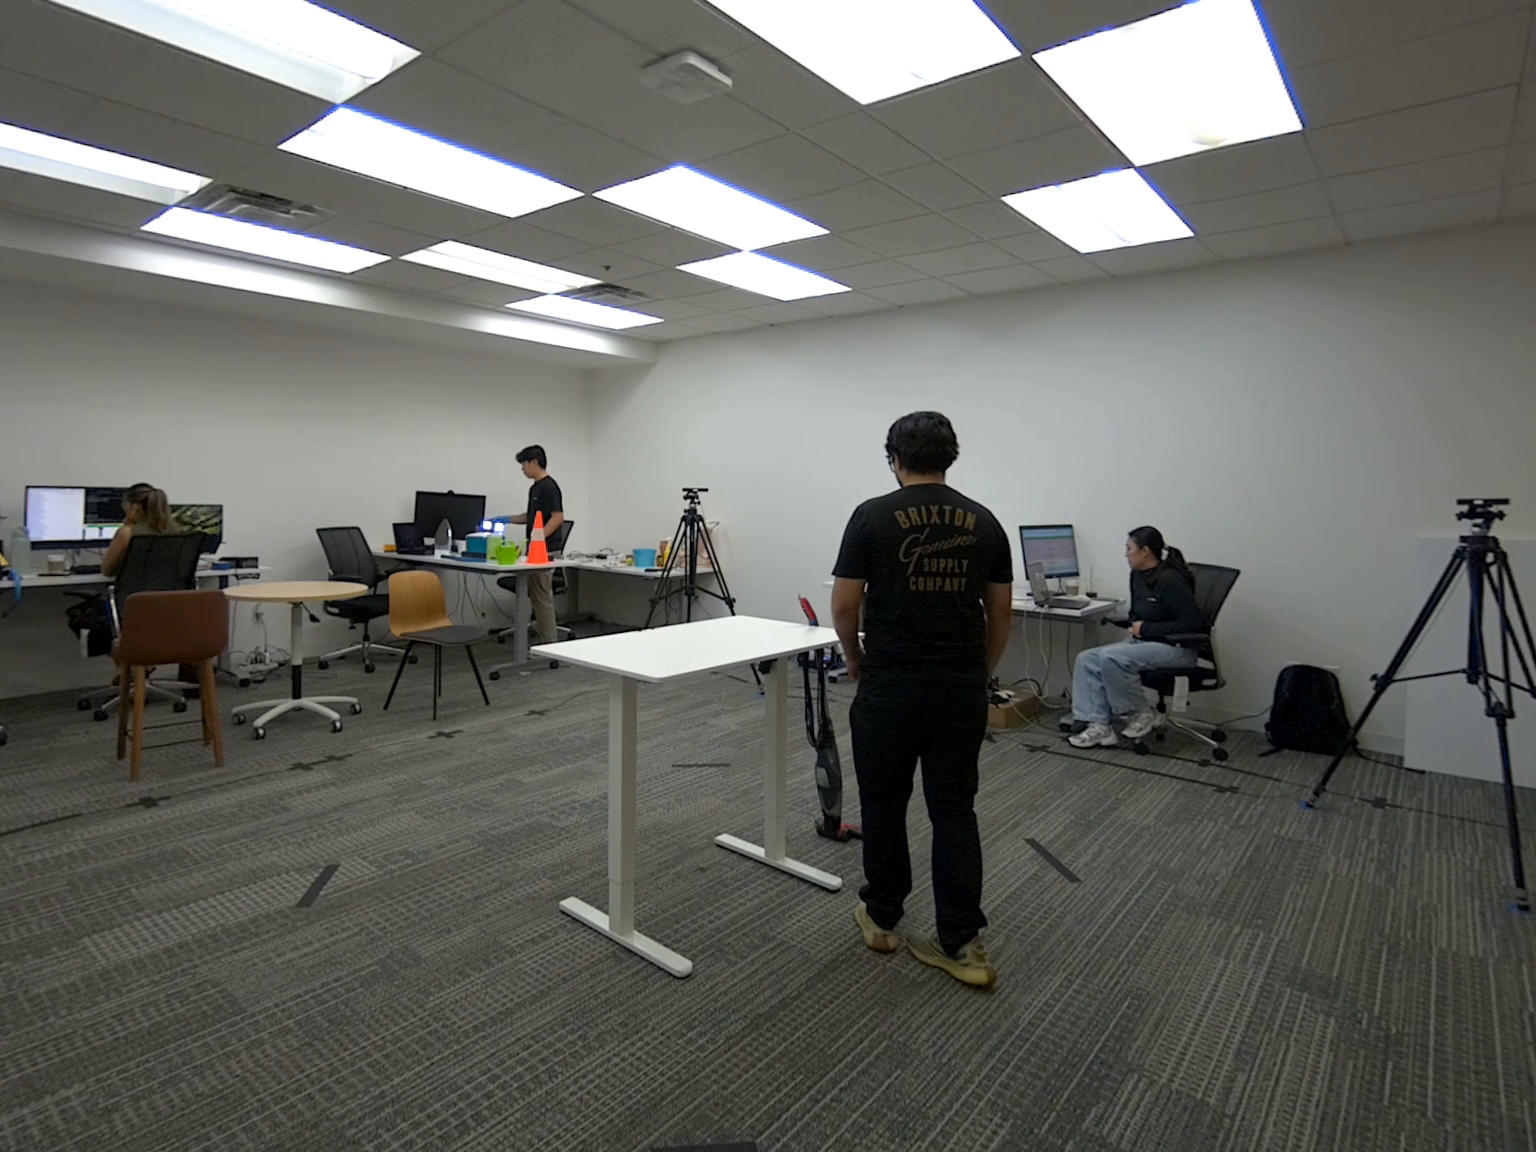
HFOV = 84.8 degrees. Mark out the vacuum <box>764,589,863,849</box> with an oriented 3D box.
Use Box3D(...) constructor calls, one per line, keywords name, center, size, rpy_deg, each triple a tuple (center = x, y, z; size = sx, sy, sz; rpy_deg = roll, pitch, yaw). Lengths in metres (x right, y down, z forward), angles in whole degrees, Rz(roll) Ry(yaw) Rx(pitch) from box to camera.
Box3D(name="vacuum", center=(0.204, 0.564, 3.286), size=(0.260, 1.027, 0.143), rpy_deg=(3, 23, 29))
